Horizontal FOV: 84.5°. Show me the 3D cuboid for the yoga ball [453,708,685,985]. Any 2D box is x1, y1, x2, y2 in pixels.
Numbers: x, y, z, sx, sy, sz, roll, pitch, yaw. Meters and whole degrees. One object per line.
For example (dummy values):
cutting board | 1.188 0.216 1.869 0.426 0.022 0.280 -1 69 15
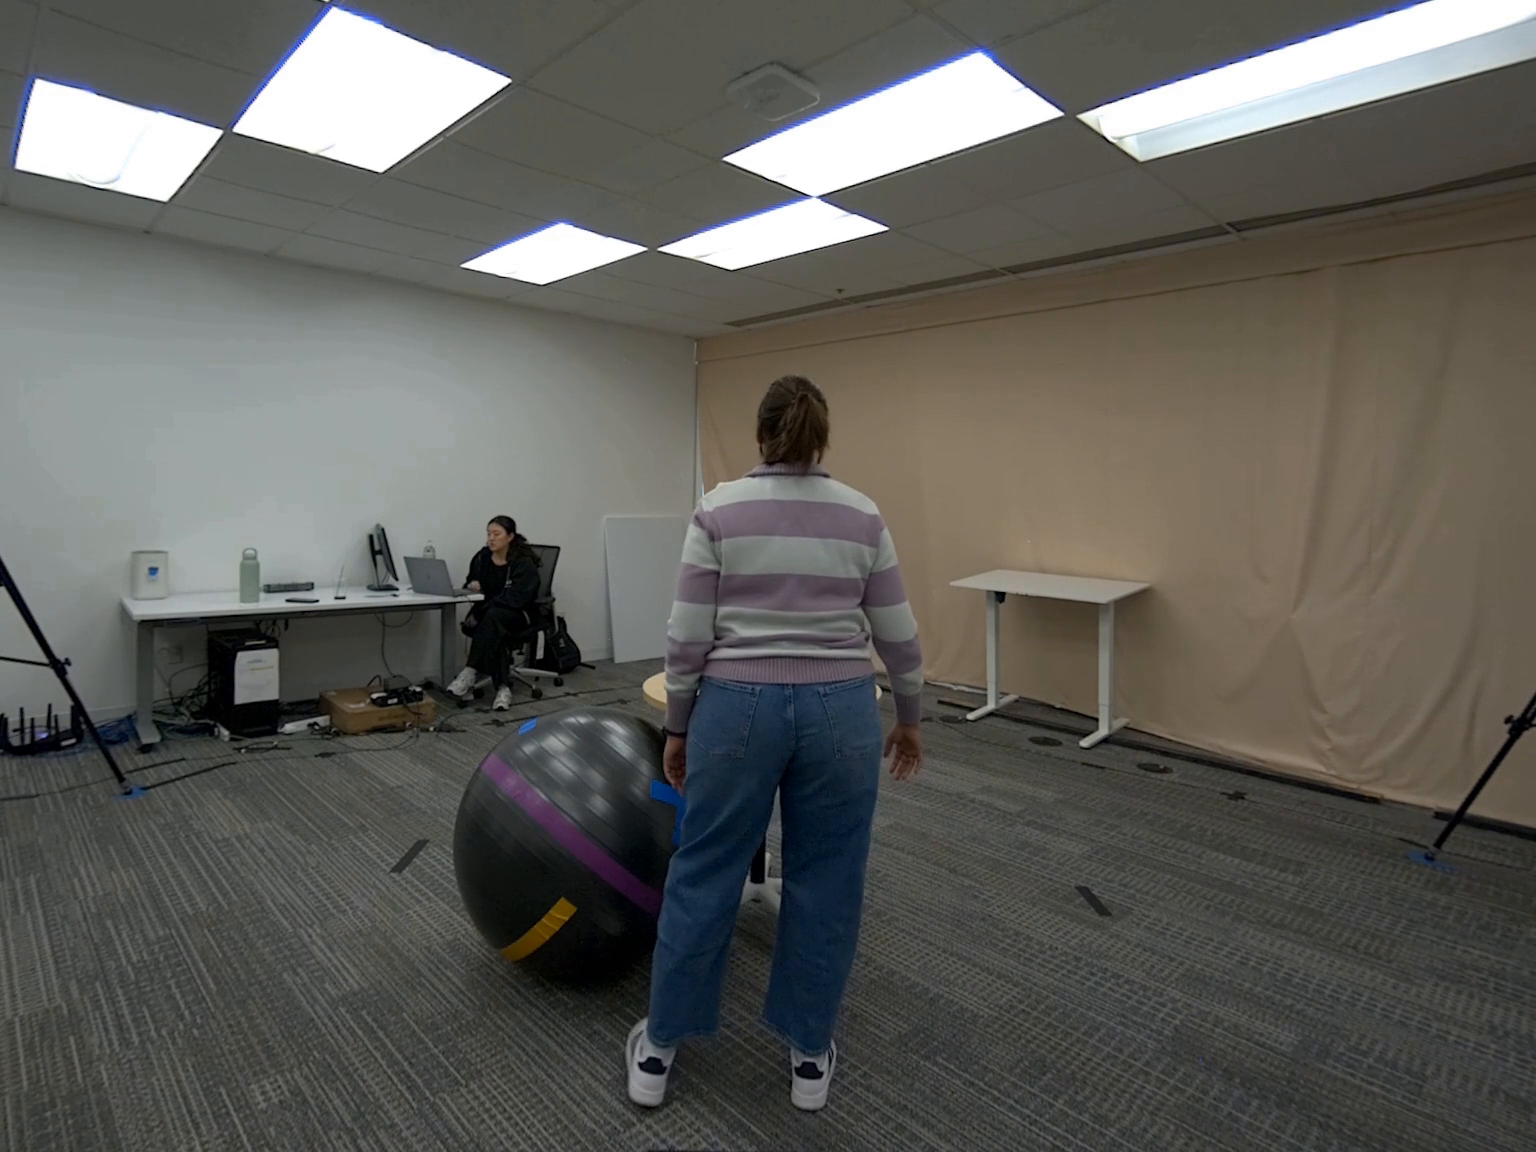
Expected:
yoga ball | -0.567 0.781 2.517 0.757 0.756 0.761 1 4 -1
